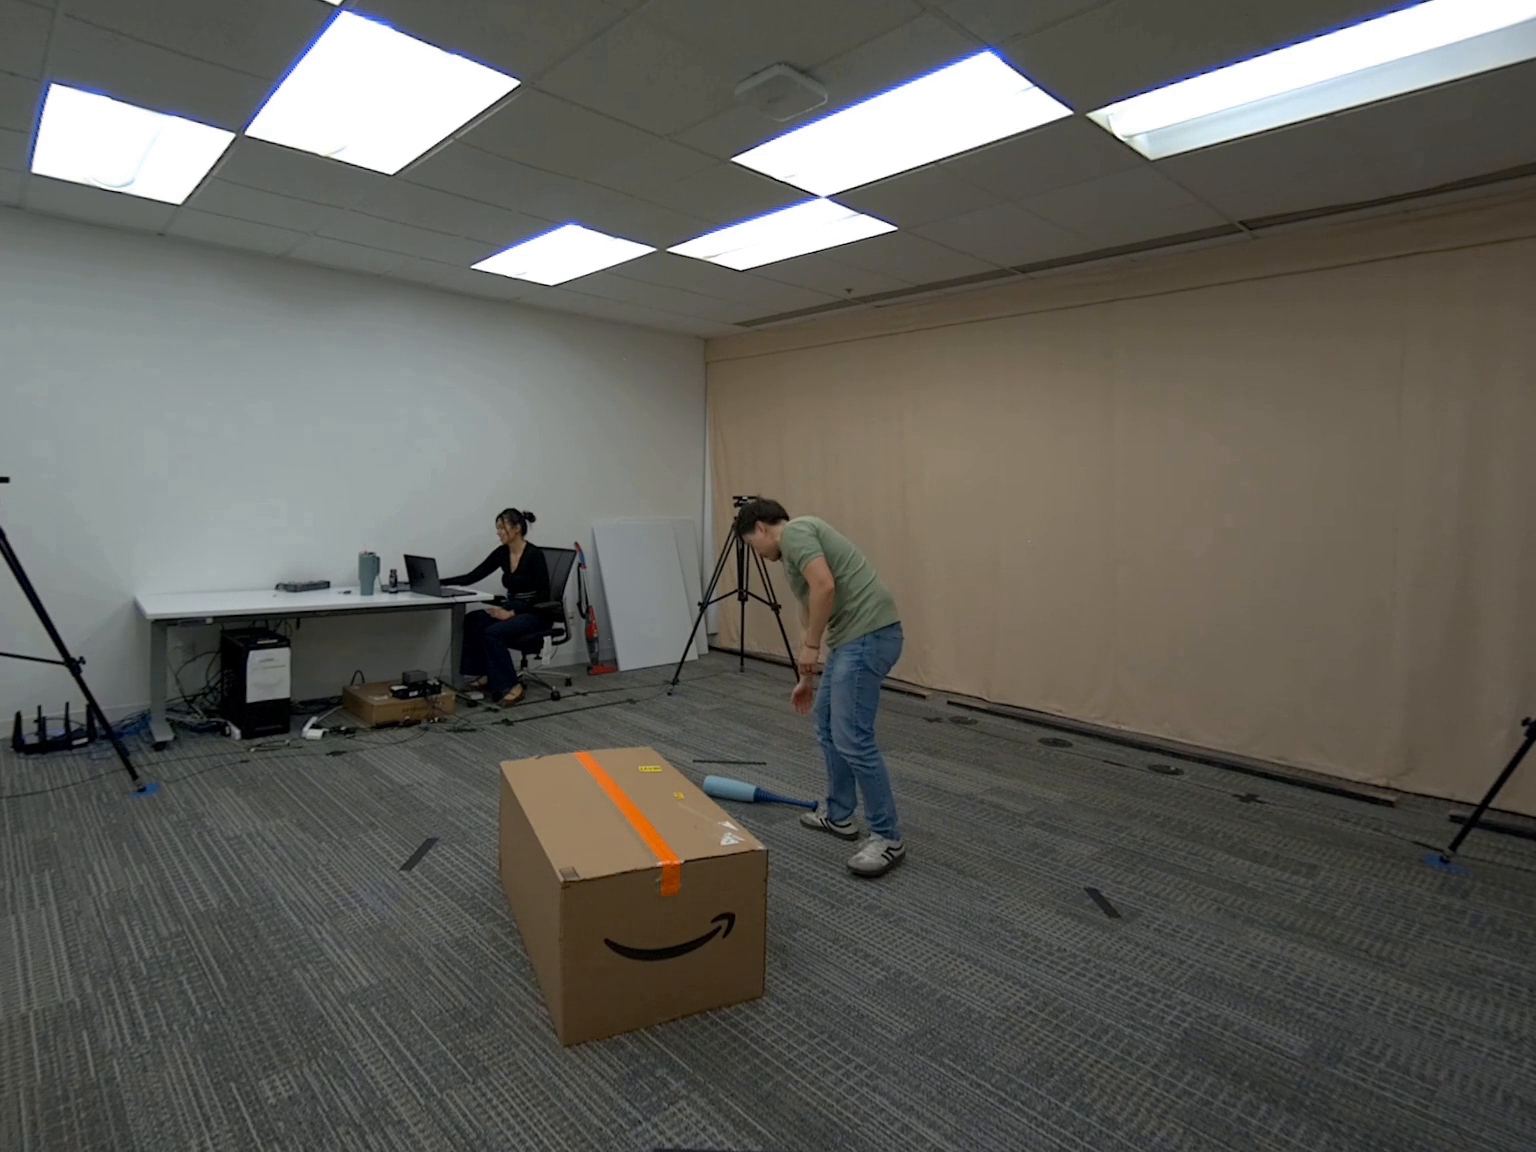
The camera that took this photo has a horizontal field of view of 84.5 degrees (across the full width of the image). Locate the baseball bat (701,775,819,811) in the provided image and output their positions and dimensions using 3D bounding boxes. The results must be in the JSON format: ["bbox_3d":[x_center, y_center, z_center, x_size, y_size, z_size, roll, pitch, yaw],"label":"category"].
[{"bbox_3d":[-0.043,1.002,3.846,0.551,0.089,0.088,6,5,18],"label":"baseball bat"}]
